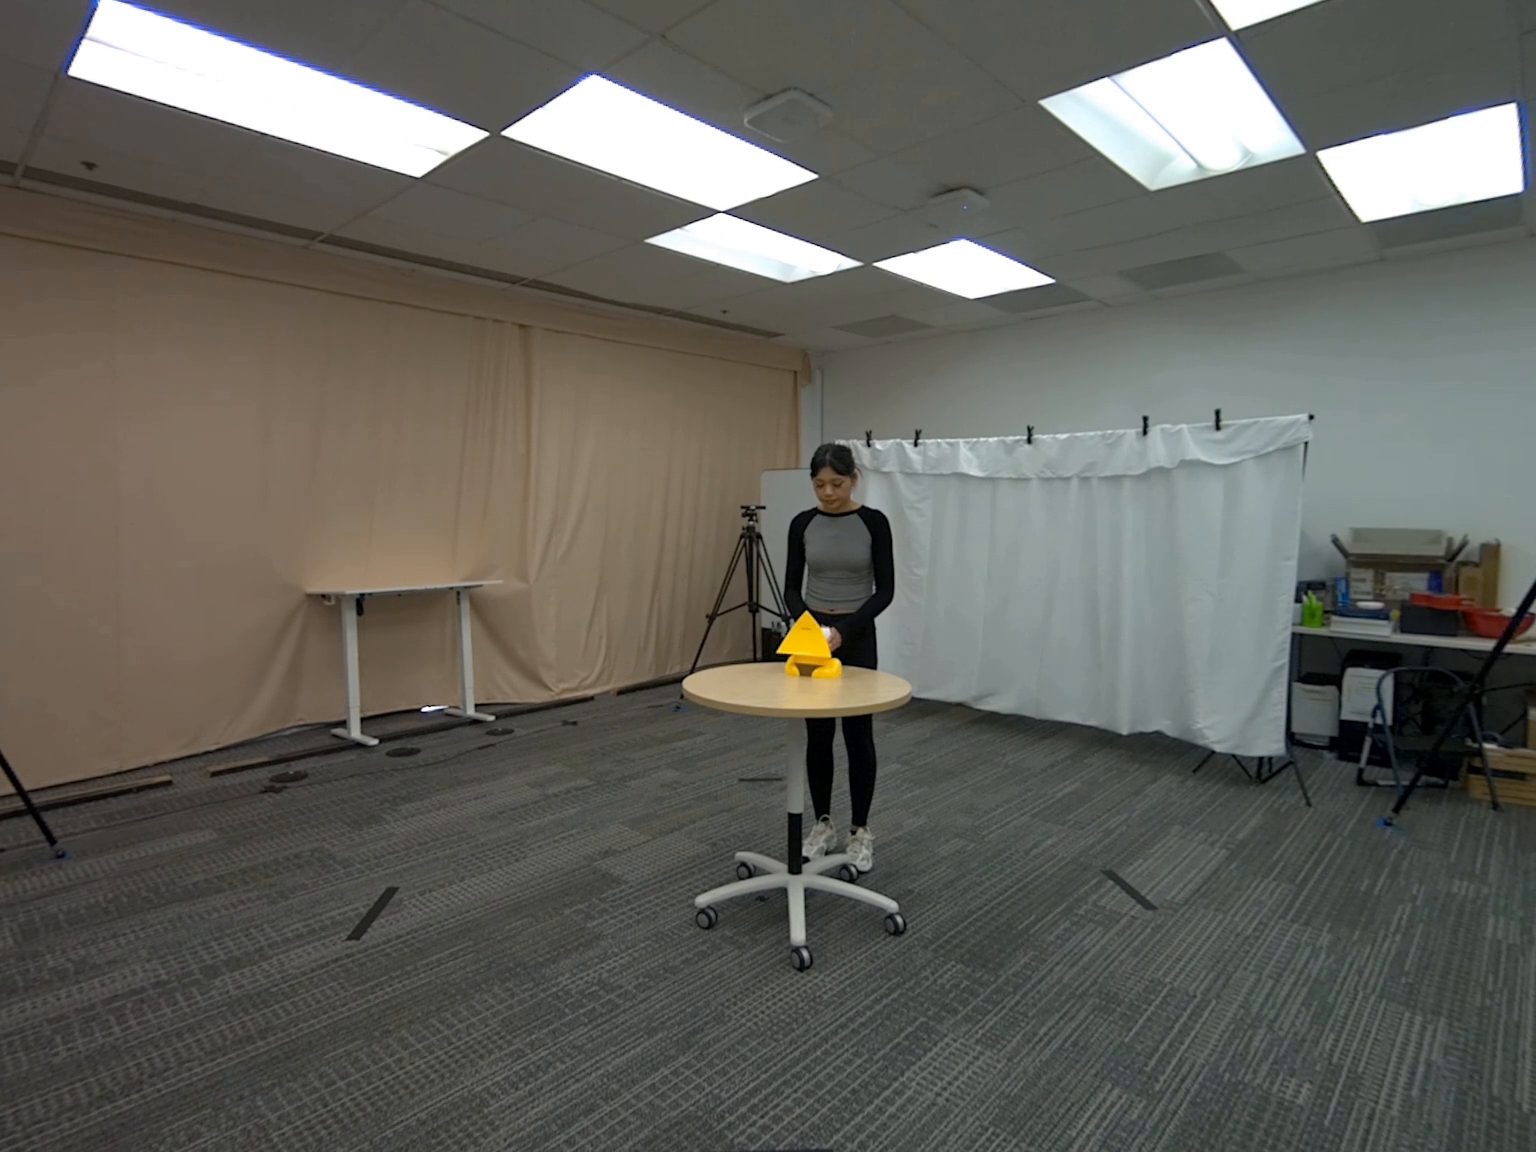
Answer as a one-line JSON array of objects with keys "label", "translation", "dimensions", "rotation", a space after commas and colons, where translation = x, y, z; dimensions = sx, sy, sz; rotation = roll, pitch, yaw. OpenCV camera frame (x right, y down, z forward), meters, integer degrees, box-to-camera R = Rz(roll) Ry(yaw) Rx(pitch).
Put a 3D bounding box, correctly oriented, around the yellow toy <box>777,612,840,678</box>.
[{"label": "yellow toy", "translation": [0.159, 0.235, 3.011], "dimensions": [0.210, 0.230, 0.188], "rotation": [2, 3, 29]}]
